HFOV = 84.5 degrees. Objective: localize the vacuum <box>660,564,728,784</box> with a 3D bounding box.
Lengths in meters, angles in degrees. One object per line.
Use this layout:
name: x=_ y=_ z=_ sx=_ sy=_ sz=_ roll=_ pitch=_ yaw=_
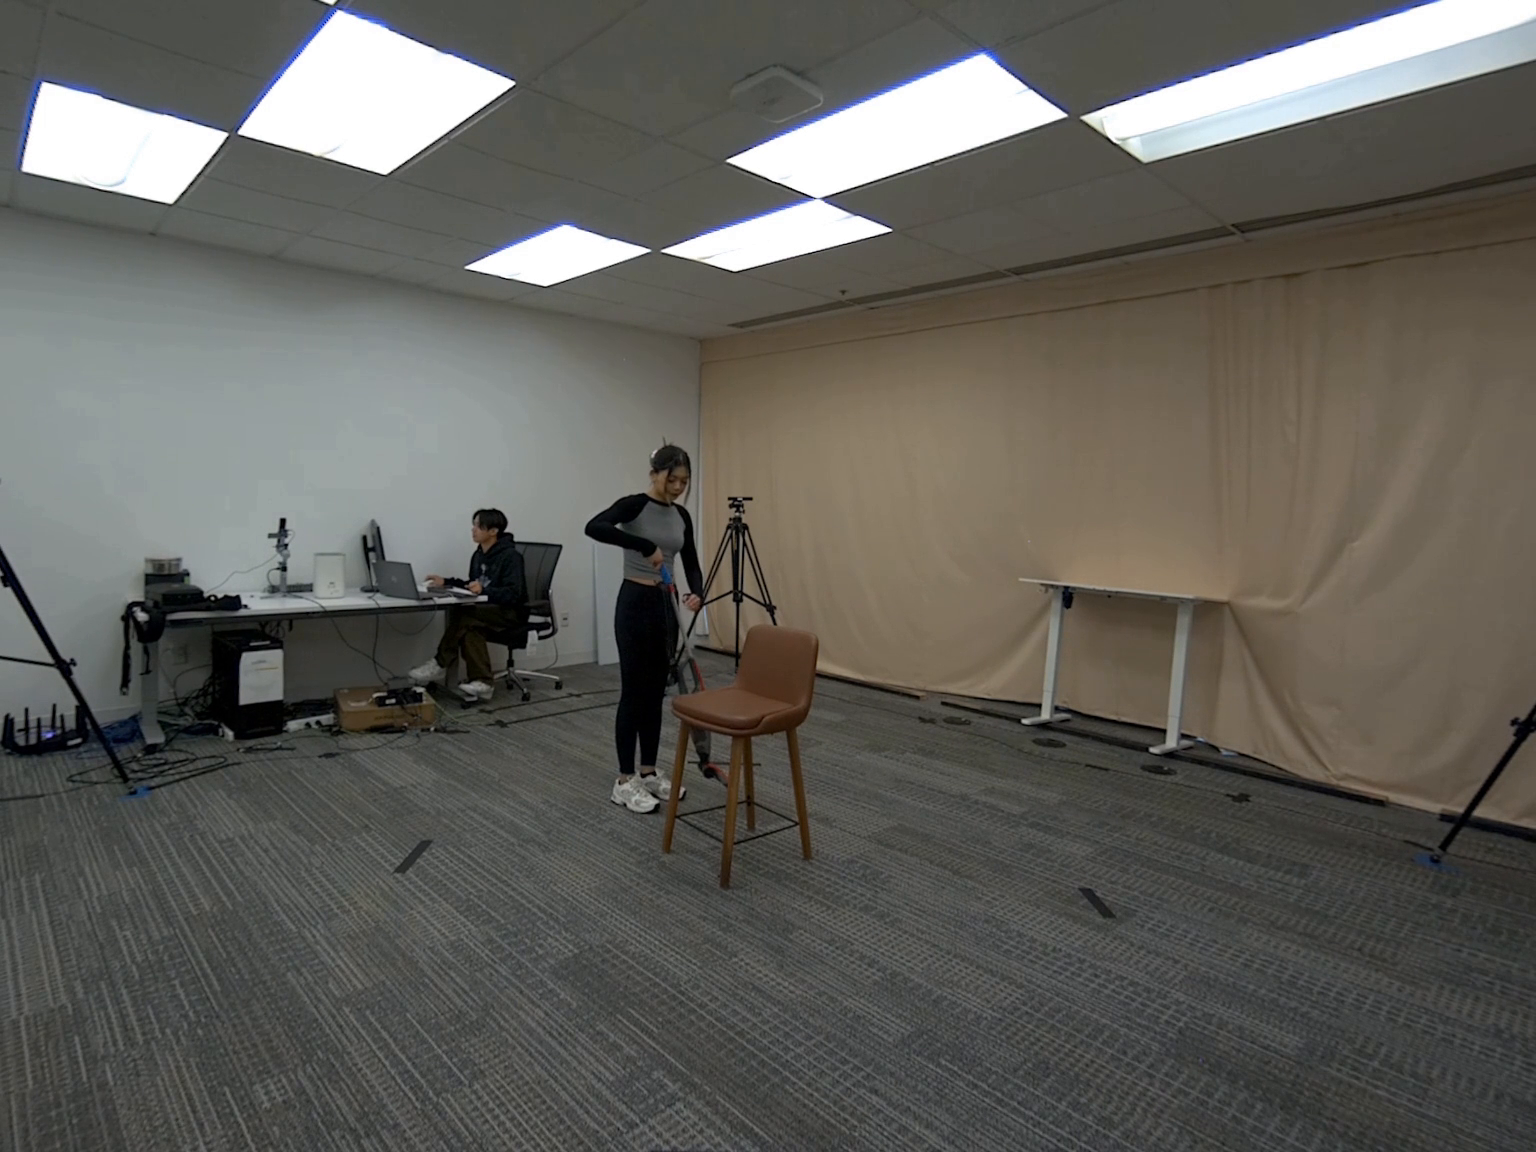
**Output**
vacuum: x=-0.377 y=0.374 z=3.662 sx=0.143 sy=1.044 sz=0.255 roll=-16 pitch=5 yaw=-13
